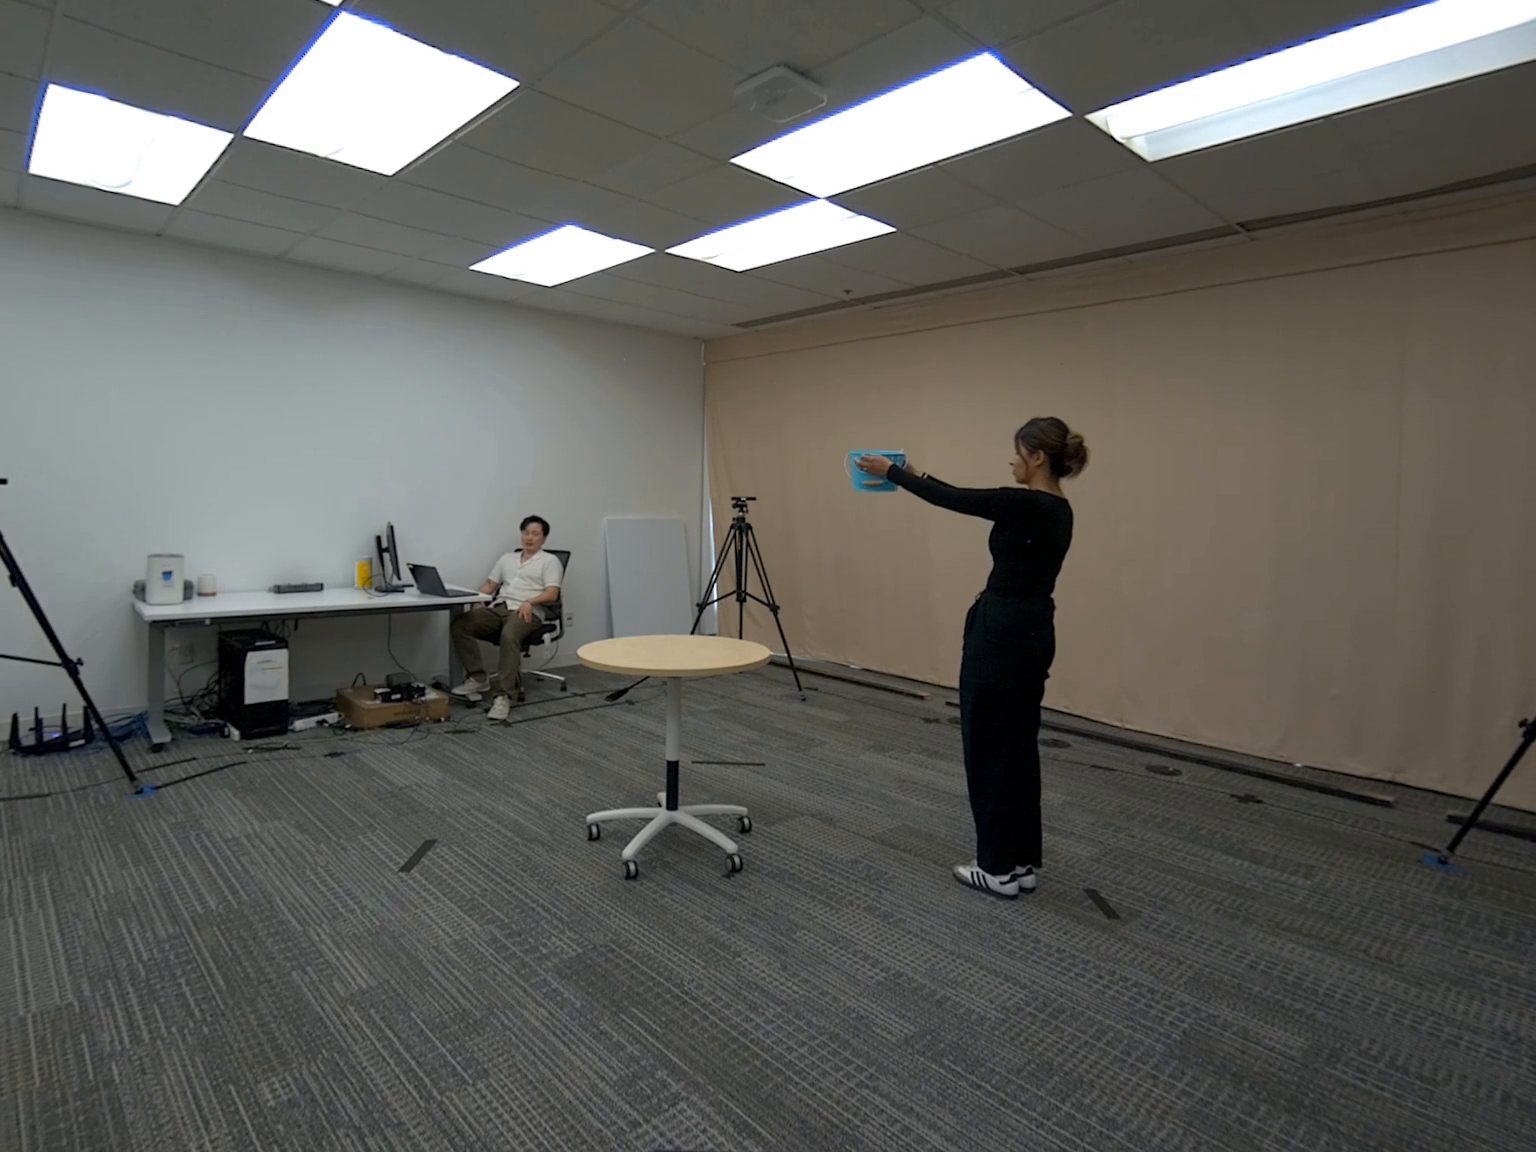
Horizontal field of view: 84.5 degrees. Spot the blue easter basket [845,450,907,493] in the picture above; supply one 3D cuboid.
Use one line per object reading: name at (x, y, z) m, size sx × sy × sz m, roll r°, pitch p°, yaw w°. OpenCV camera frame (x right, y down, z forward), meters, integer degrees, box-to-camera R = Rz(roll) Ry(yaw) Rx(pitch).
blue easter basket at (0.431, -0.421, 3.408) m, size 0.243 × 0.155 × 0.245 m, roll 0°, pitch 8°, yaw -1°
